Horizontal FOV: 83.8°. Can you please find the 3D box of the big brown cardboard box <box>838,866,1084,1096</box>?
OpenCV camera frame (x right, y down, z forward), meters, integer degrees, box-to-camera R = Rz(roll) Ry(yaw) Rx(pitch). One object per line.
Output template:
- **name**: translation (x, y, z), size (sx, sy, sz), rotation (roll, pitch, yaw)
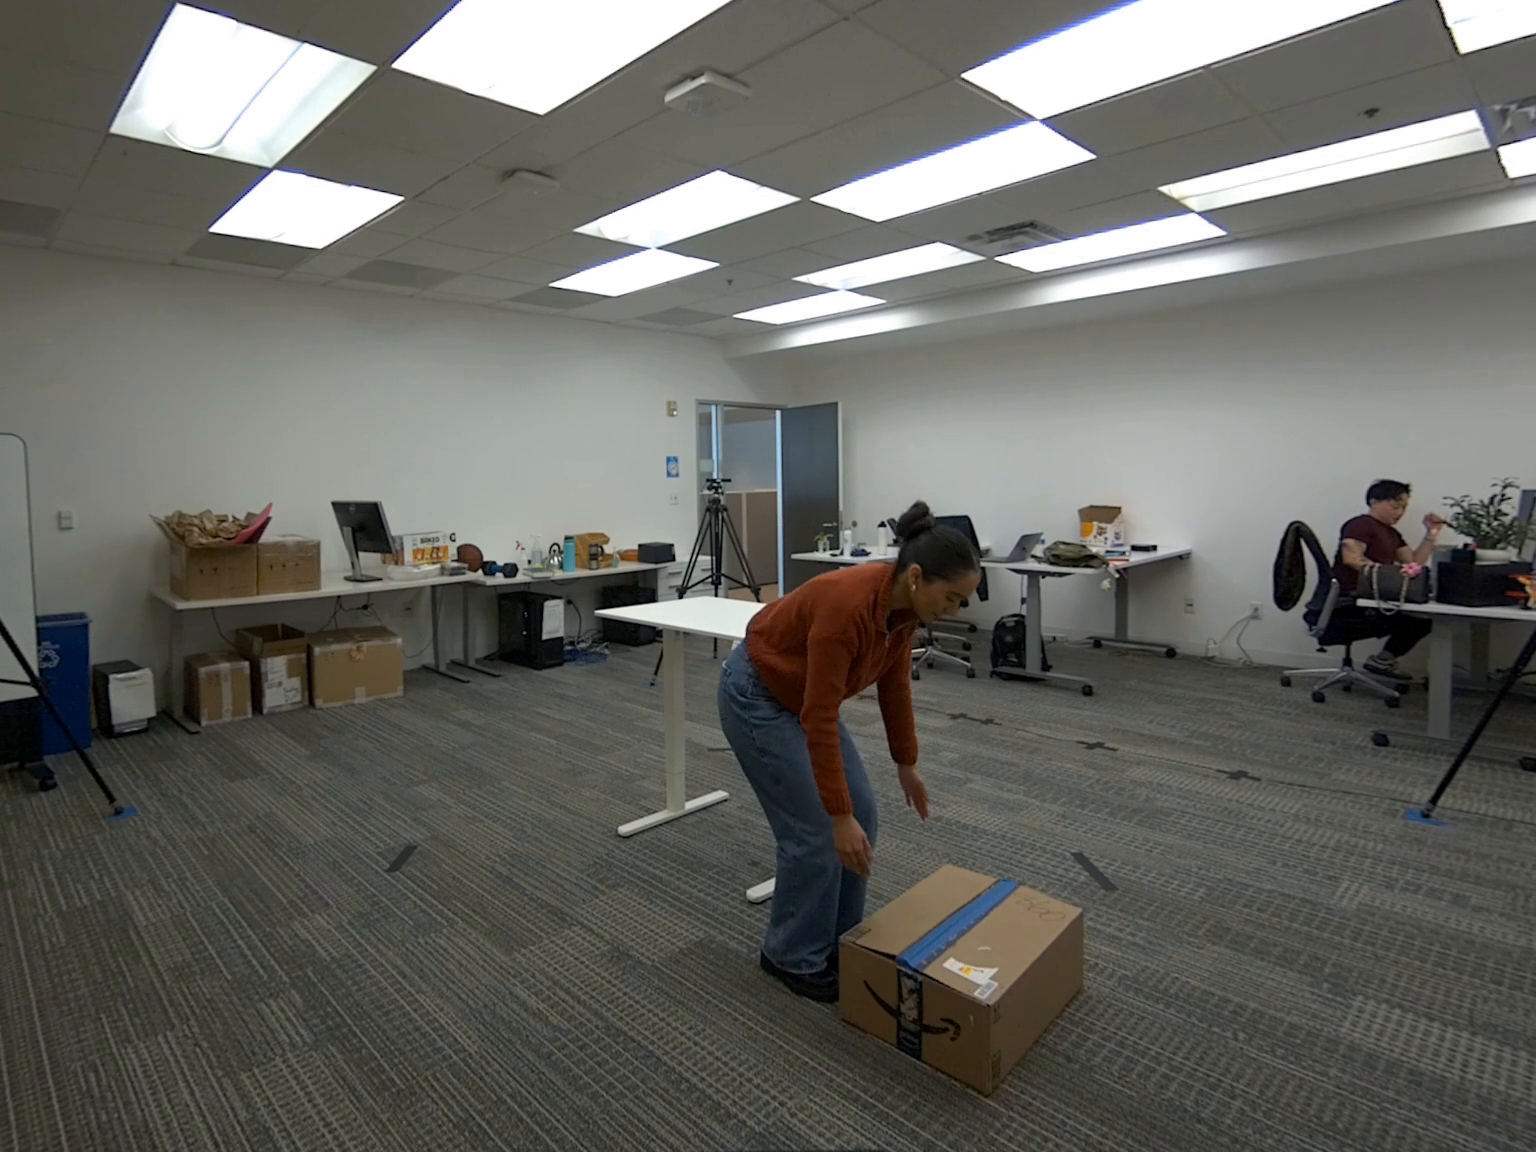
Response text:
- **big brown cardboard box**: translation (0.523, 1.021, 2.252), size (0.430, 0.232, 0.573), rotation (4, 7, 41)
